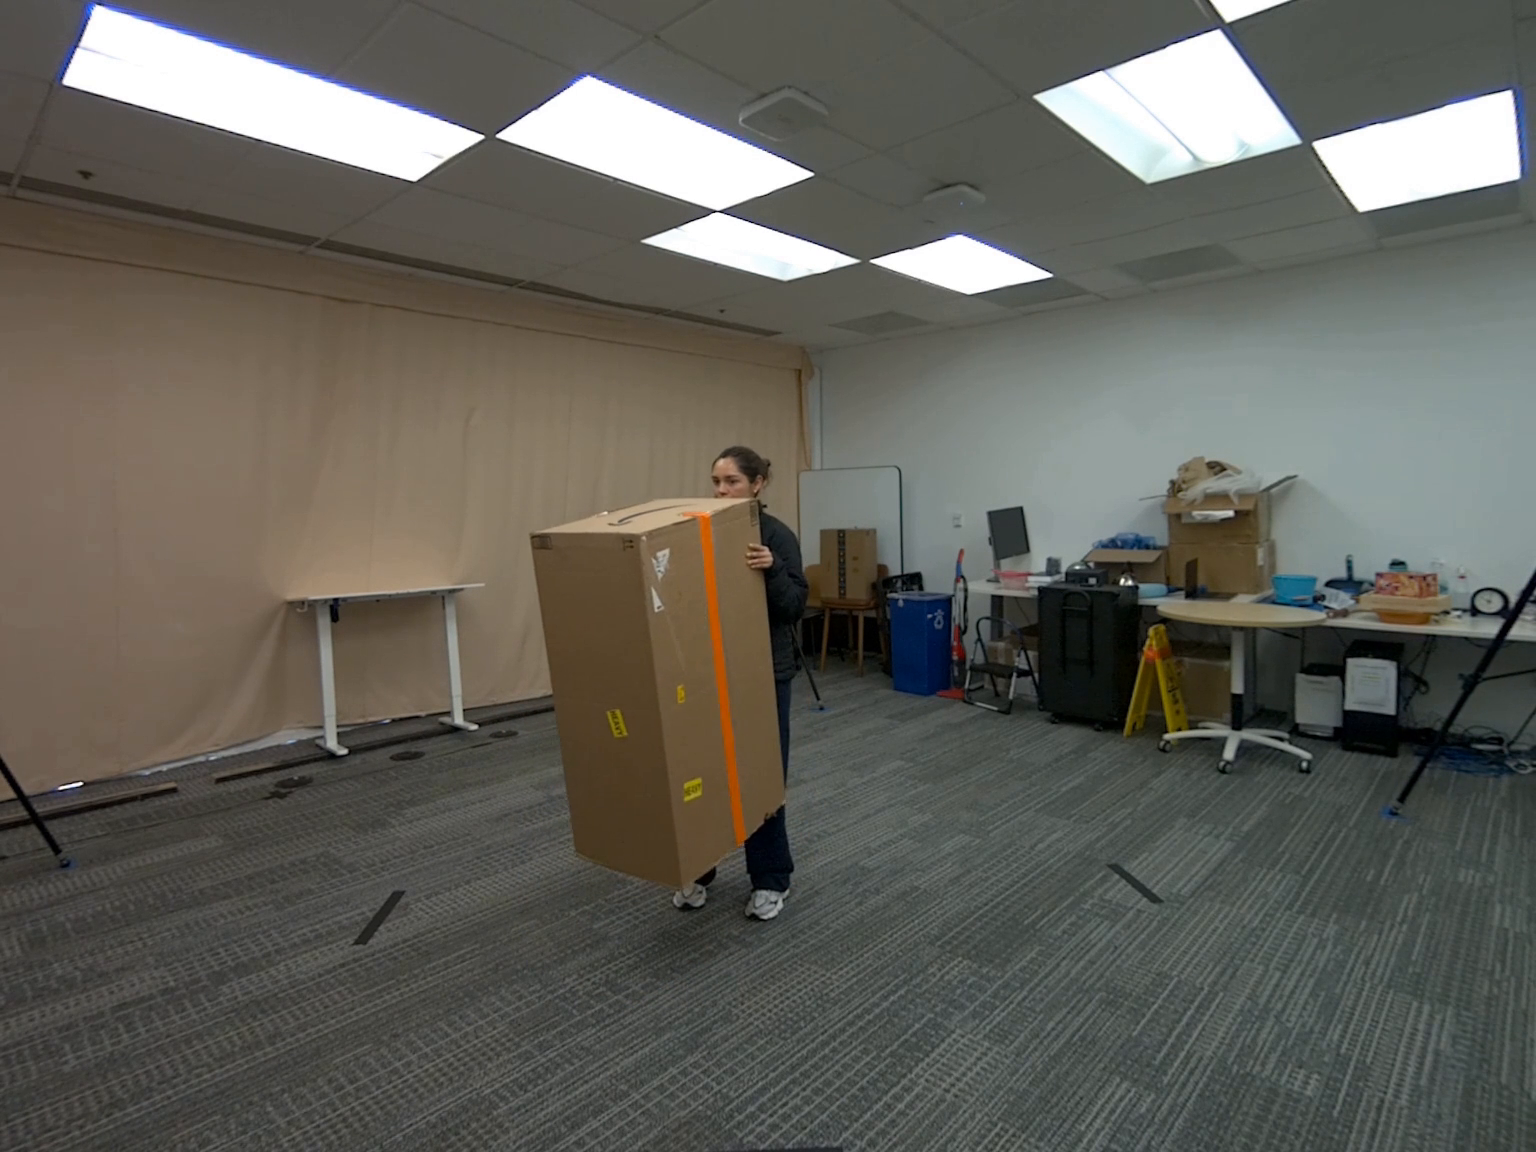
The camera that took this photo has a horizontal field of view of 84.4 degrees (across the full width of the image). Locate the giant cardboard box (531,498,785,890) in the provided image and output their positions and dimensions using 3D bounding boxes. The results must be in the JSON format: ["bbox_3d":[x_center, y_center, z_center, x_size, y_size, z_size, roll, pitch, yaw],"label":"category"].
[{"bbox_3d":[-0.298,0.316,2.600,0.439,1.018,0.564,1,13,34],"label":"giant cardboard box"}]
